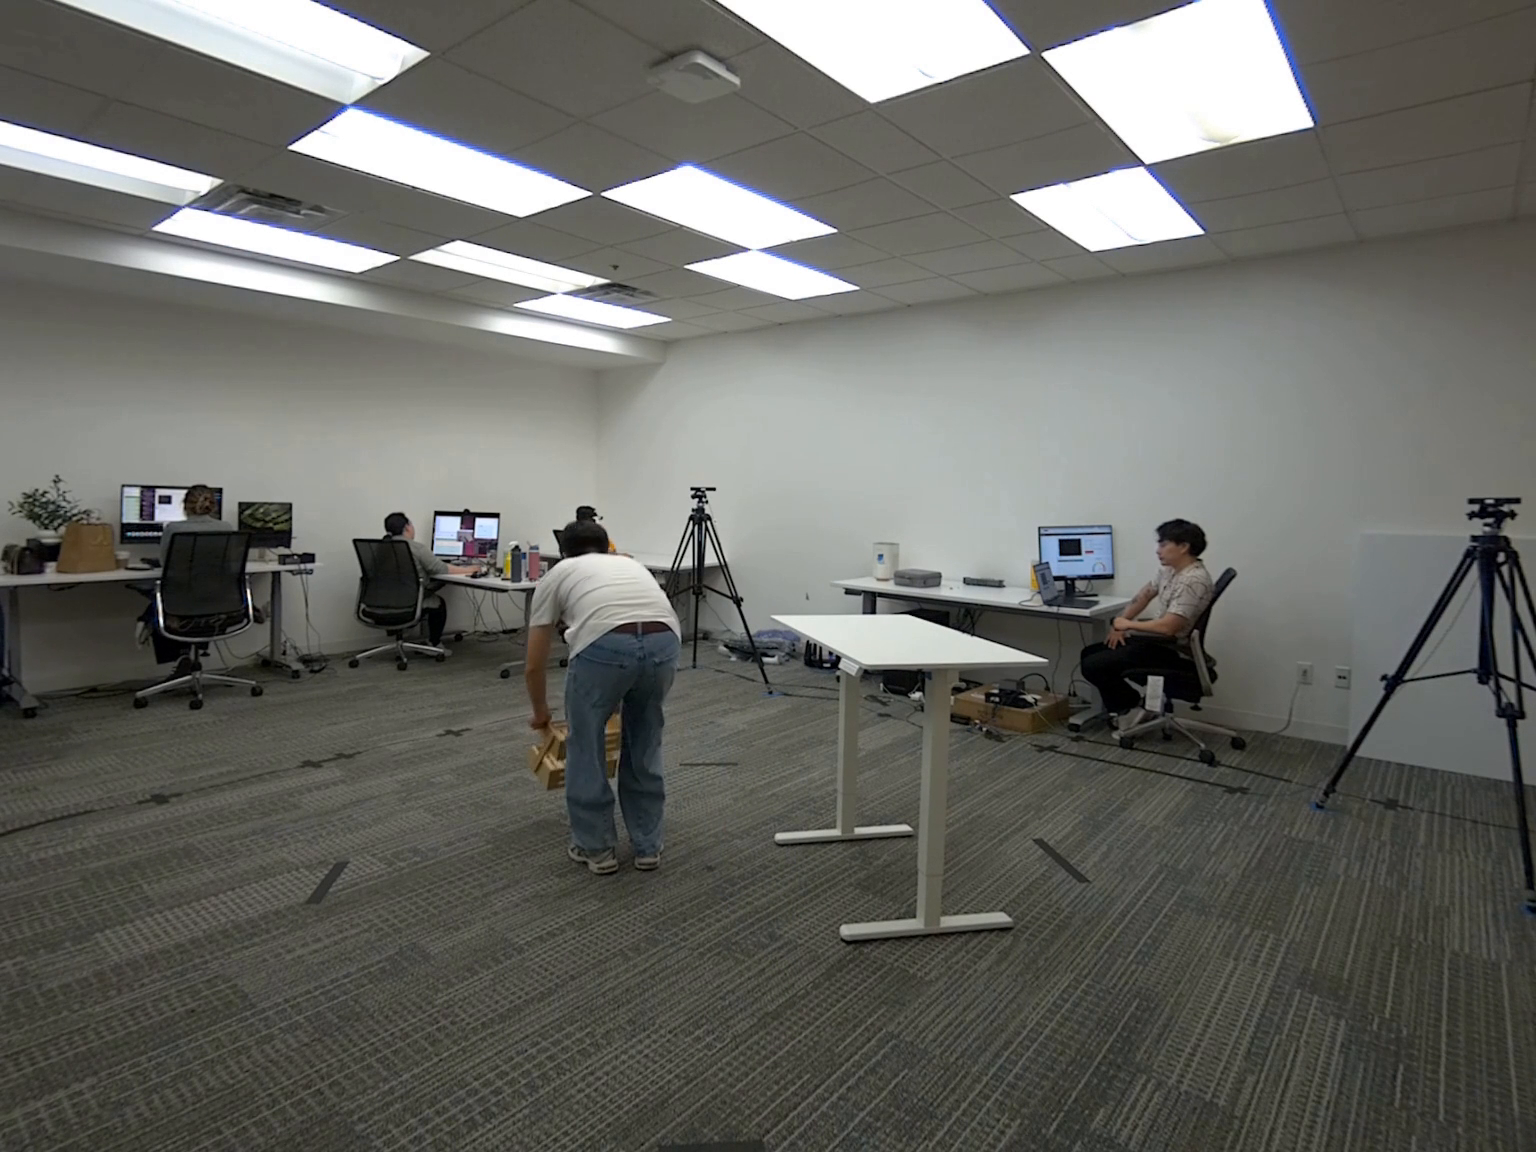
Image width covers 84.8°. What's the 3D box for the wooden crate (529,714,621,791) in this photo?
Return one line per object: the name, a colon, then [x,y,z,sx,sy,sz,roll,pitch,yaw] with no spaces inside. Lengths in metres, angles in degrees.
wooden crate: [-0.801,0.662,3.493,0.315,0.270,0.315,-2,22,-35]
